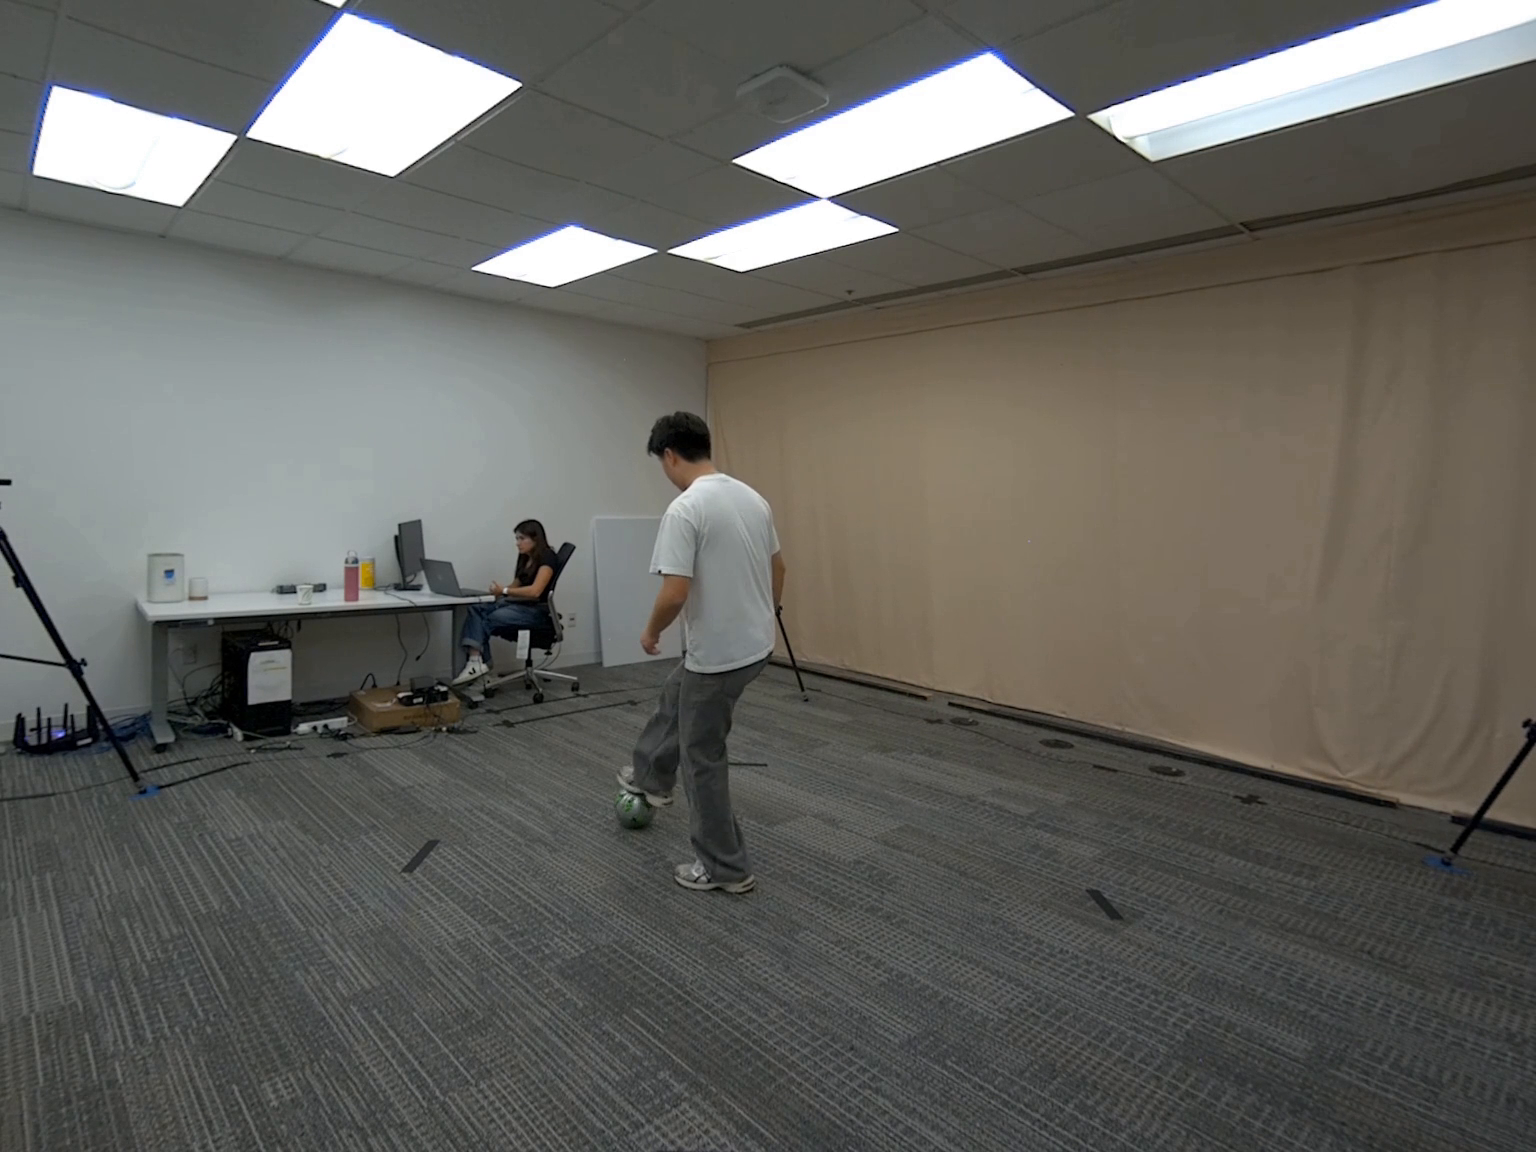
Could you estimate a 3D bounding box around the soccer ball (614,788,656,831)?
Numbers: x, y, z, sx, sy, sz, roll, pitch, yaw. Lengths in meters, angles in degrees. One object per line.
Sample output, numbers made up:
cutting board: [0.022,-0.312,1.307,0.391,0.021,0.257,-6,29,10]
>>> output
soccer ball: [-0.542,0.970,3.547,0.187,0.187,0.188,1,4,-1]
